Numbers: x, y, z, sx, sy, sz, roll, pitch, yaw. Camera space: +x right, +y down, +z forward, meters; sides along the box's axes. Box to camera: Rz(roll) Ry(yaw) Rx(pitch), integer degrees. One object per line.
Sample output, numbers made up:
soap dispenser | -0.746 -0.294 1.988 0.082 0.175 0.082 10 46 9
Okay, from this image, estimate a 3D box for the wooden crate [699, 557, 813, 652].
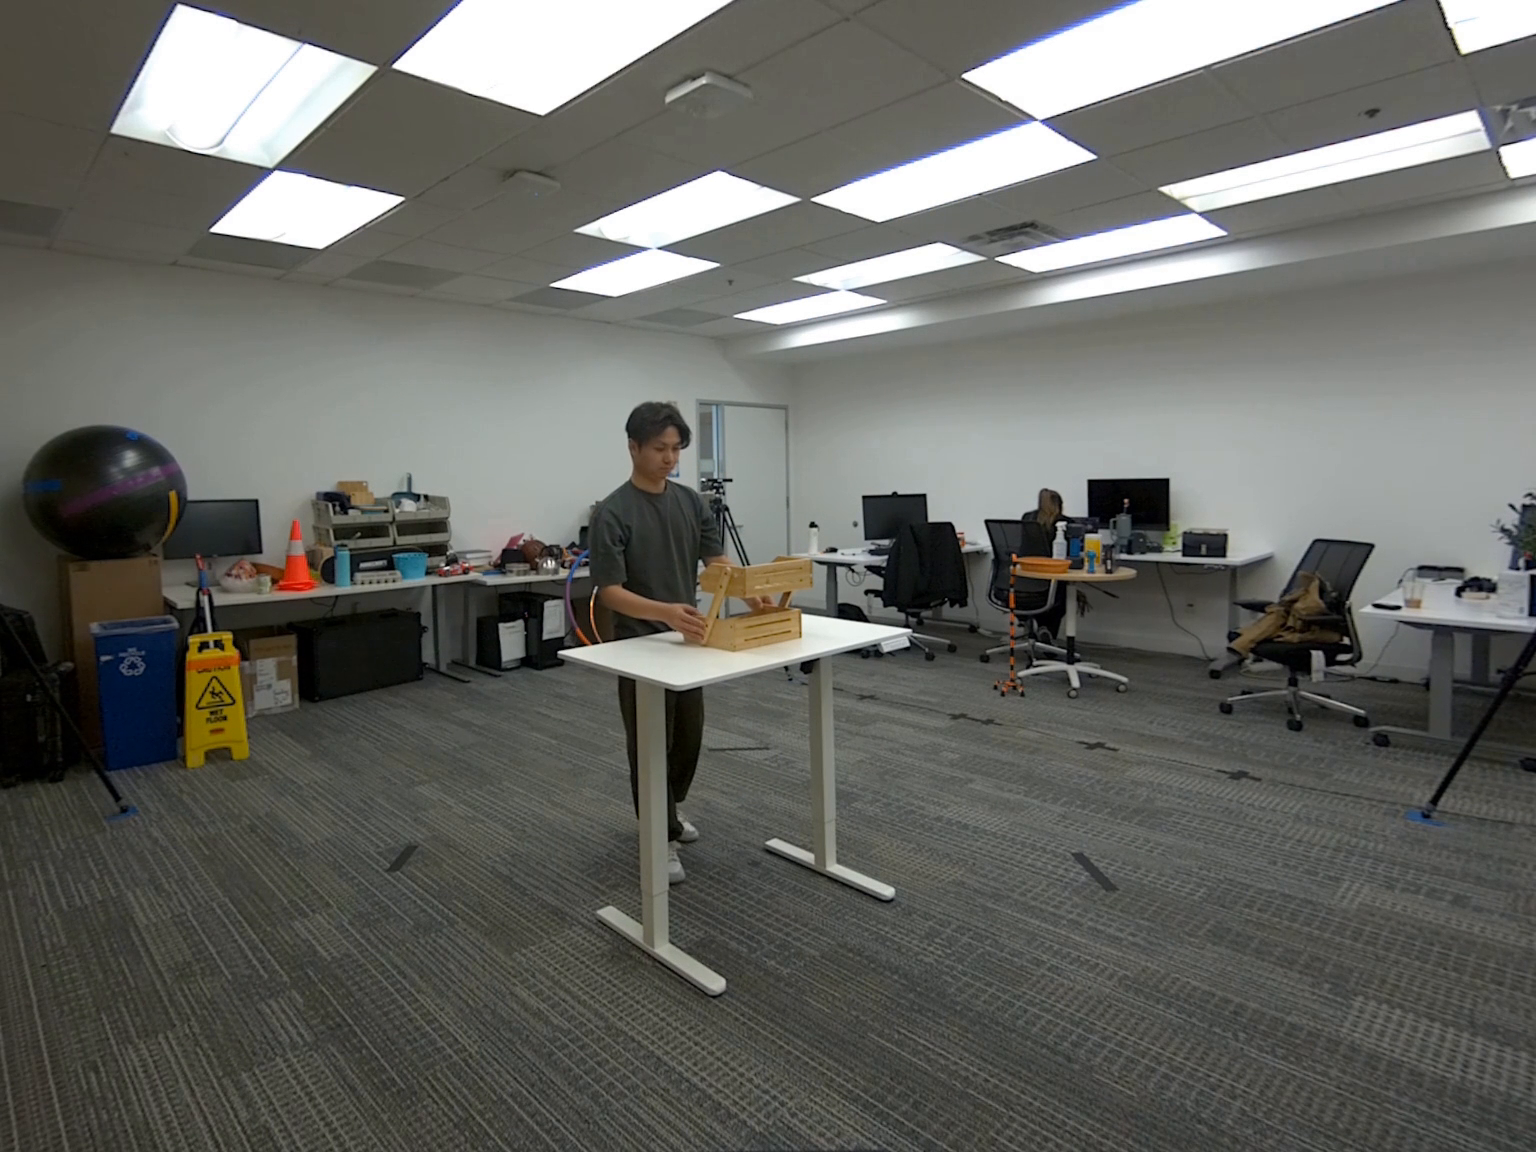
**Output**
wooden crate | -0.070 0.078 2.722 0.316 0.272 0.311 -7 7 -43
